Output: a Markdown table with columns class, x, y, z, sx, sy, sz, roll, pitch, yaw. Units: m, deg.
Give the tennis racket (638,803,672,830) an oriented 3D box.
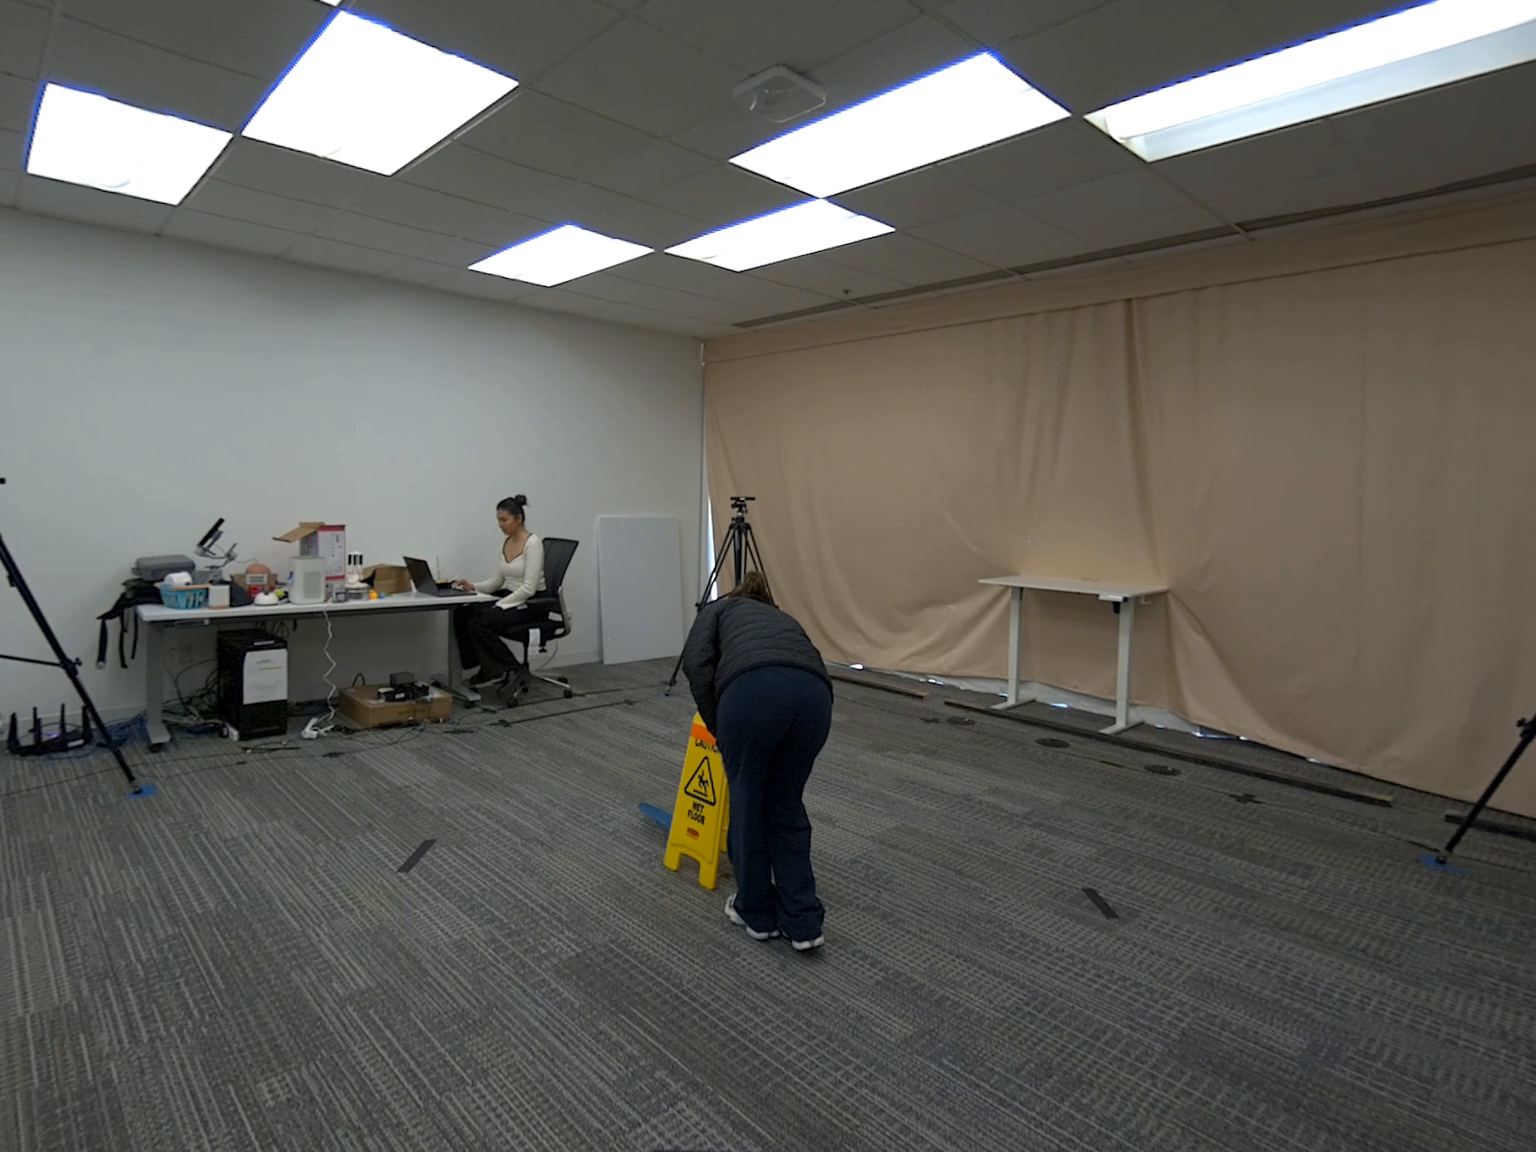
| class | x | y | z | sx | sy | sz | roll | pitch | yaw |
| --- | --- | --- | --- | --- | --- | --- | --- | --- | --- |
| tennis racket | -0.419 | 1.013 | 3.430 | 0.210 | 0.032 | 0.439 | 26 | -6 | -16 |
